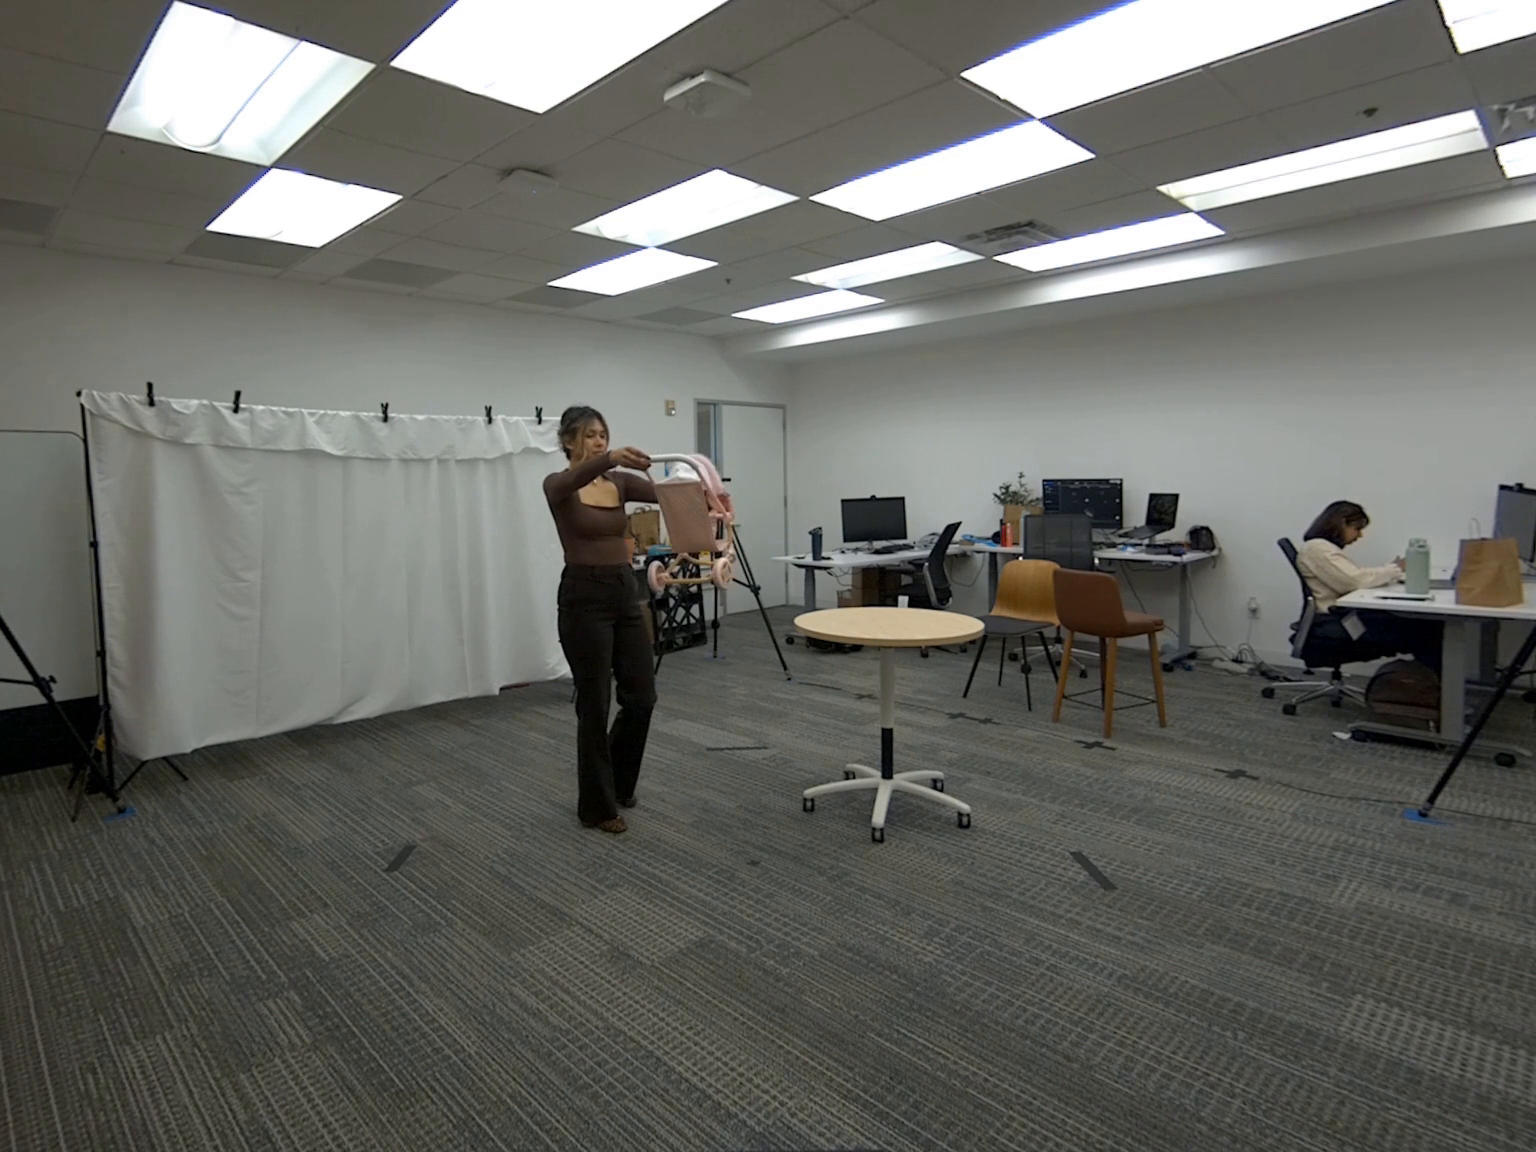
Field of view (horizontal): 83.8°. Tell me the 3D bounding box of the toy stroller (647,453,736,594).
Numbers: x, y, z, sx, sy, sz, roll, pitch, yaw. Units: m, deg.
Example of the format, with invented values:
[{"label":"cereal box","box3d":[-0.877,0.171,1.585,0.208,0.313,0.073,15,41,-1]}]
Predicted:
[{"label":"toy stroller","box3d":[-0.249,-0.179,2.977,0.288,0.528,0.338,-2,14,26]}]
